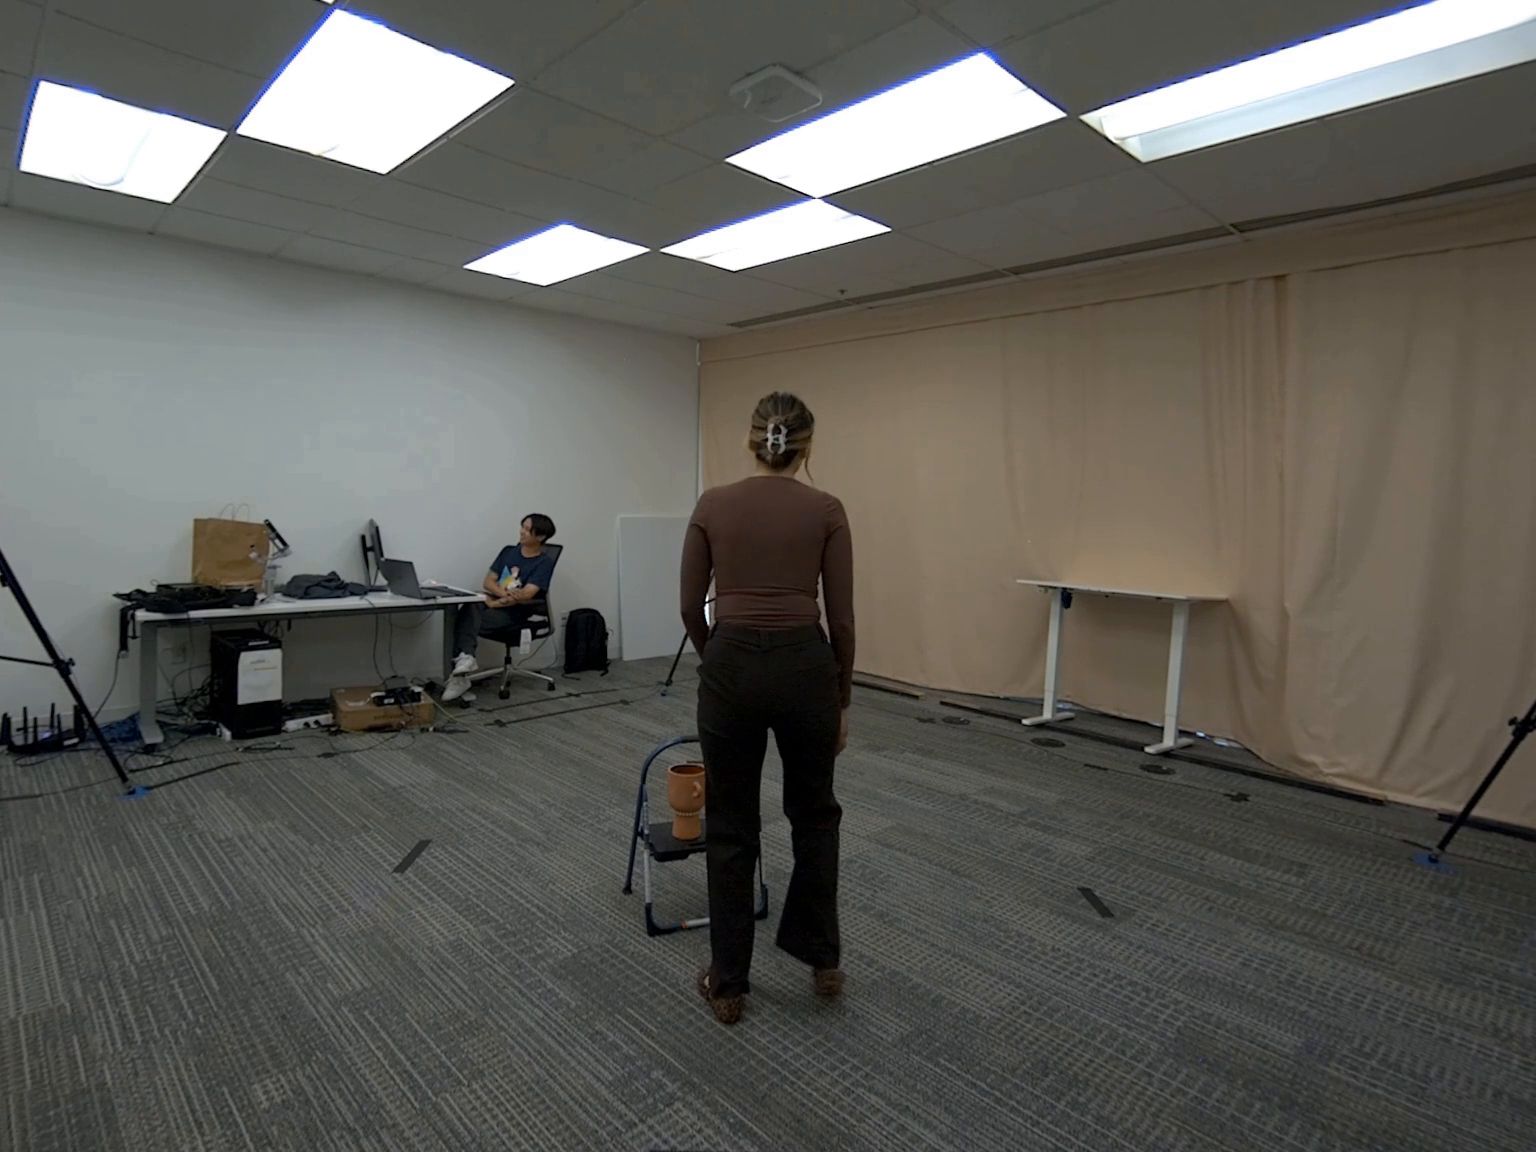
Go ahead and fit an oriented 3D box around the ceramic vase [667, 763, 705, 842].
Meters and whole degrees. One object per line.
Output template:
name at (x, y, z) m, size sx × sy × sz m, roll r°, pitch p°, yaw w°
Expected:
ceramic vase at (-0.280, 0.755, 2.816) m, size 0.136 × 0.219 × 0.158 m, roll 1°, pitch 3°, yaw 9°
